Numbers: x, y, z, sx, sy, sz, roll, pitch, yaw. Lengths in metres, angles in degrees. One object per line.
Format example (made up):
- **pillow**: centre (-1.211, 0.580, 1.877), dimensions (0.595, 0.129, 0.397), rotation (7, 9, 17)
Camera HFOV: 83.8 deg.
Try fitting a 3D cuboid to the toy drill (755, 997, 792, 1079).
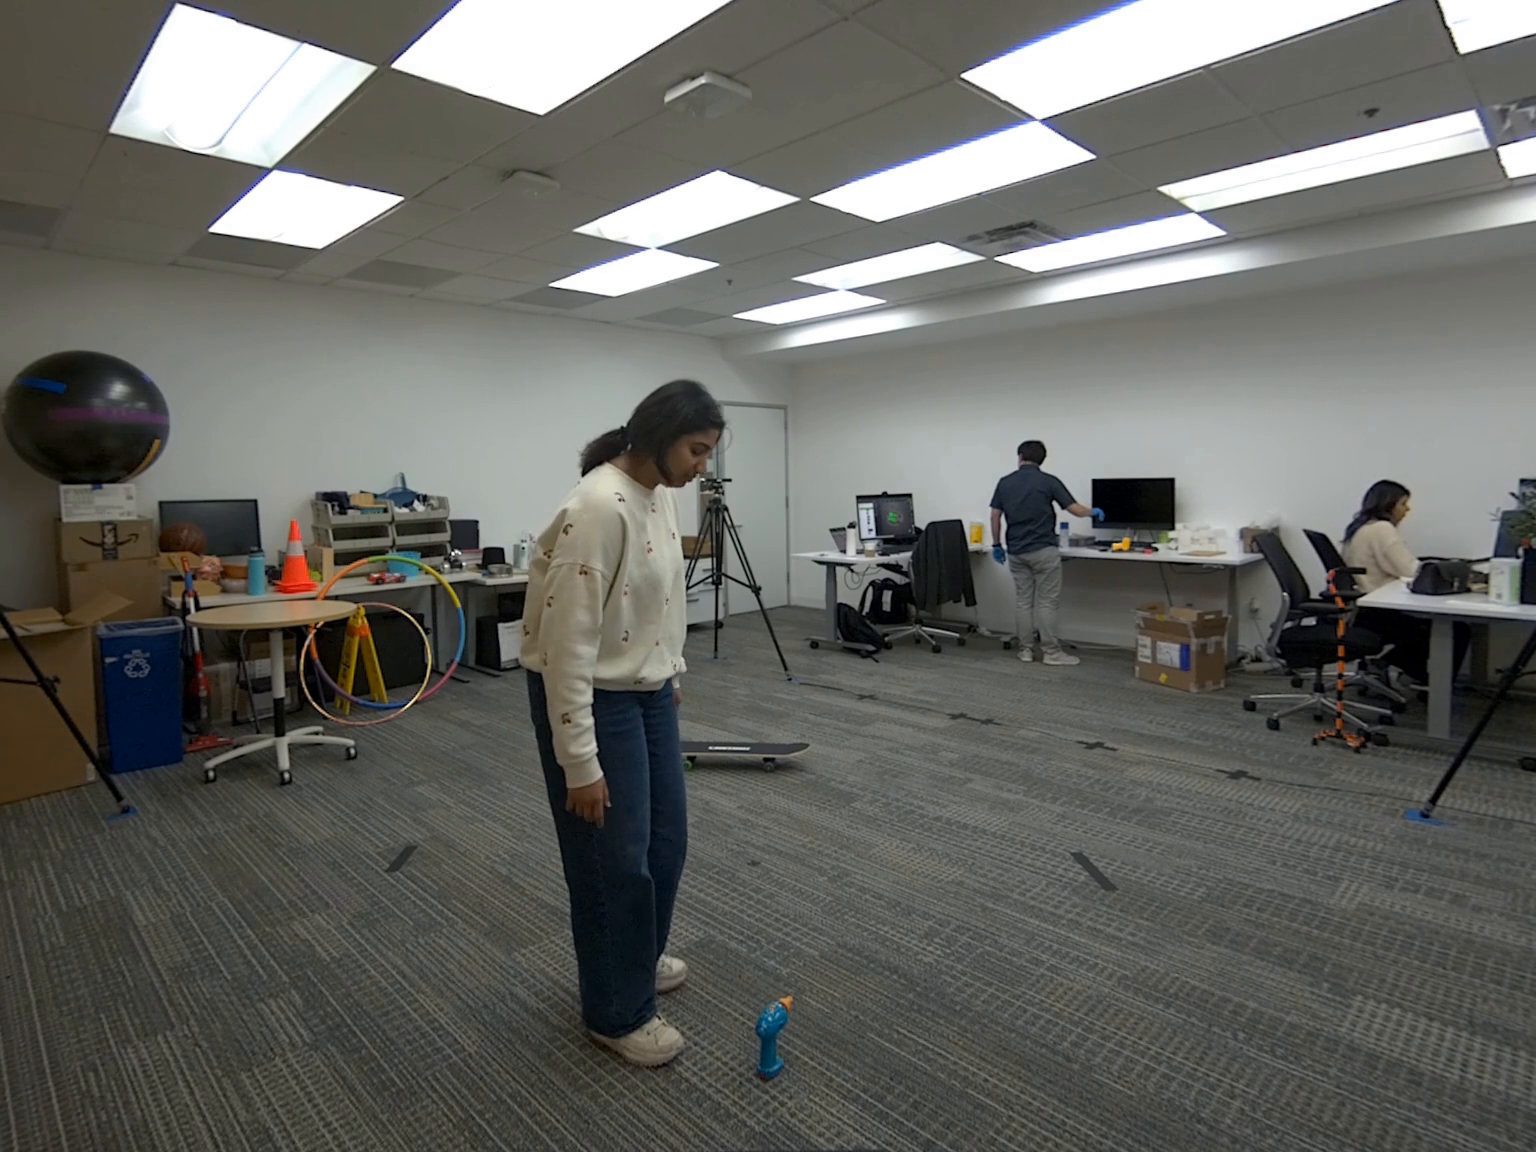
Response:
- **toy drill**: centre (0.021, 1.088, 2.053), dimensions (0.062, 0.145, 0.166), rotation (1, 4, 25)
